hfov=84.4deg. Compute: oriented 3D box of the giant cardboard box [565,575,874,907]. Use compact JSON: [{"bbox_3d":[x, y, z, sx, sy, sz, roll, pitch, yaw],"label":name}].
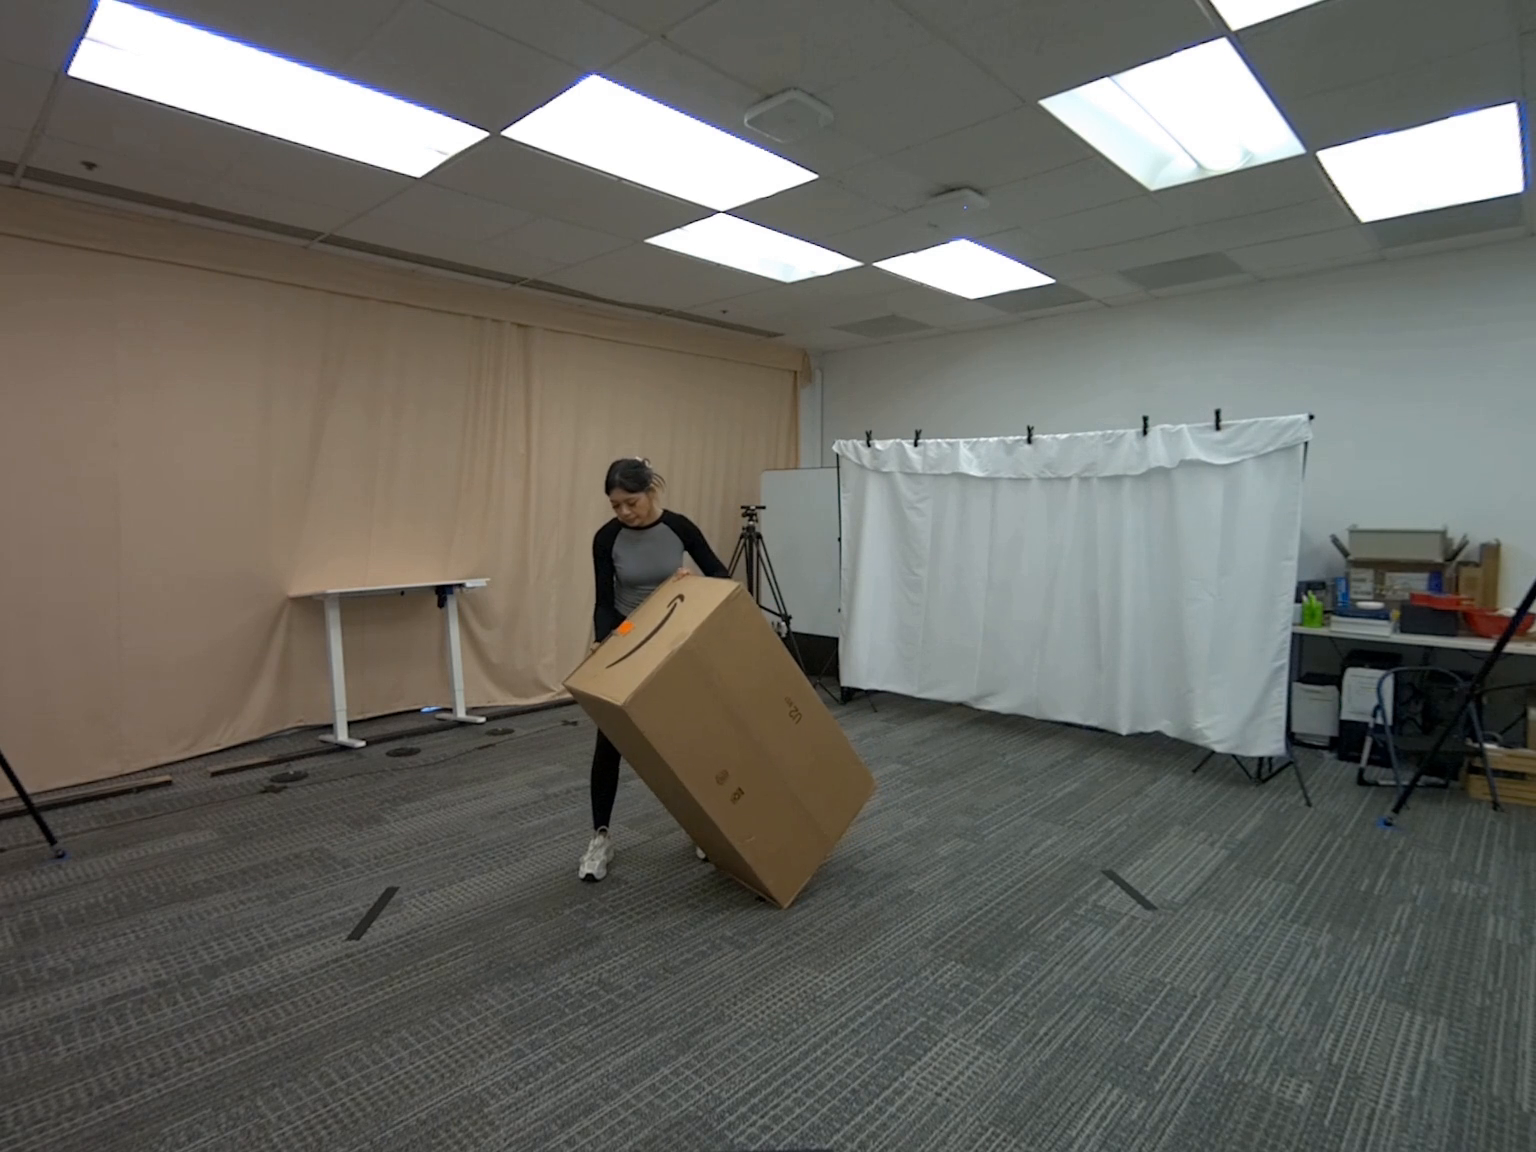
[{"bbox_3d":[-0.136,0.574,2.993,0.580,1.002,0.461,-46,27,-26],"label":"giant cardboard box"}]
